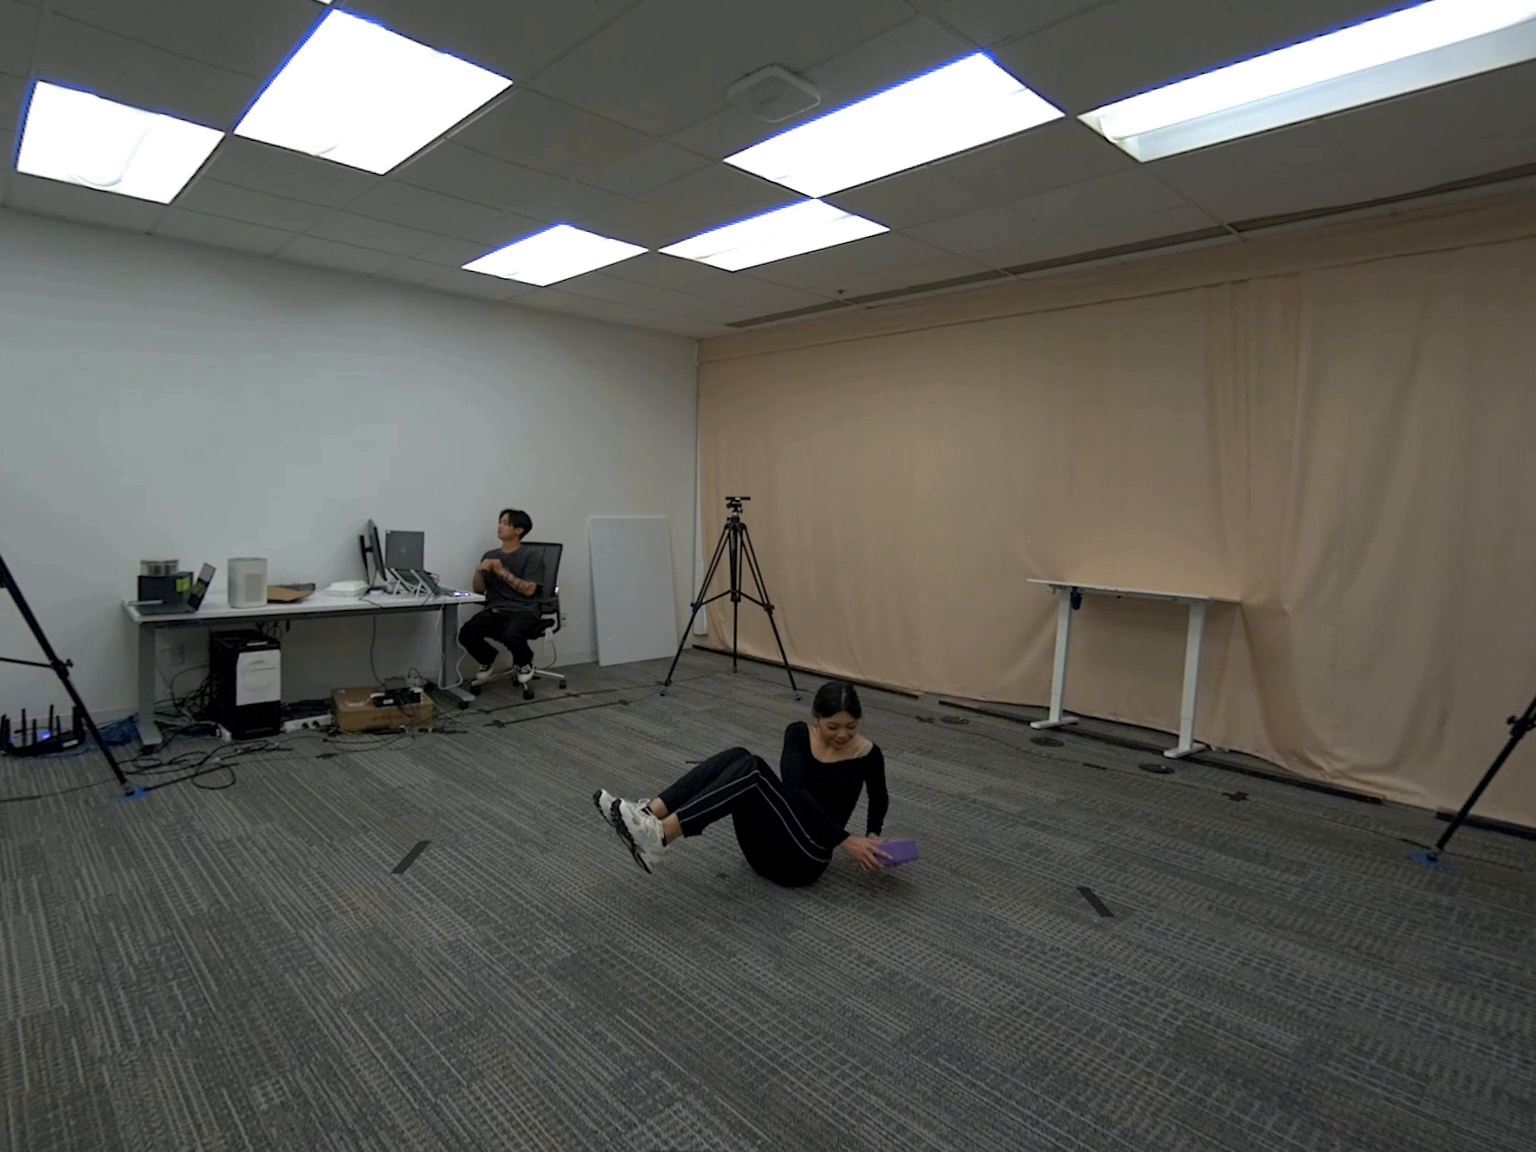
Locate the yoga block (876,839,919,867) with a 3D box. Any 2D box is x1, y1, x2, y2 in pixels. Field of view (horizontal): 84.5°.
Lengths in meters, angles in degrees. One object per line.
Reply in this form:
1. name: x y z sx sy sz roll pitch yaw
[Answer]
1. yoga block: 0.411 0.993 3.010 0.151 0.077 0.223 -21 -22 37
